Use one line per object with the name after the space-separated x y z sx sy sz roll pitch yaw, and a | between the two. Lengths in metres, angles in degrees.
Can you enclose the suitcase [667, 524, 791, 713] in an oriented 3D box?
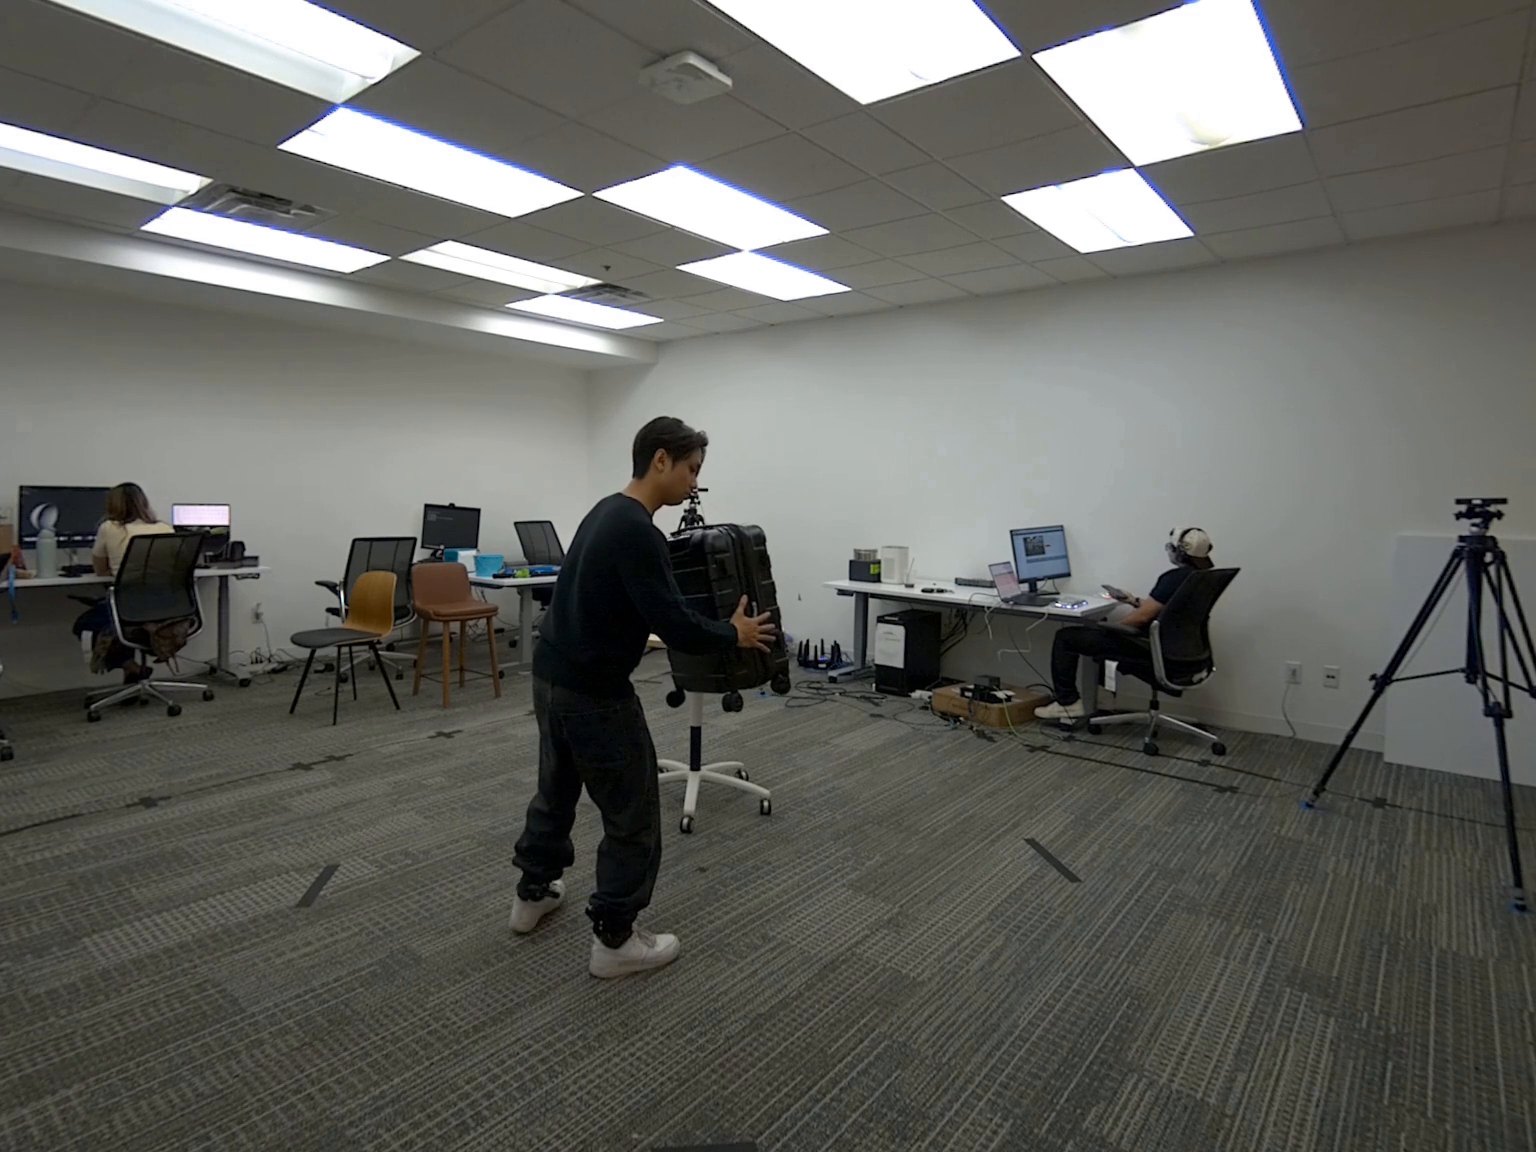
-0.172 0.111 2.676 0.242 0.550 0.385 -9 -1 -40 | suitcase
